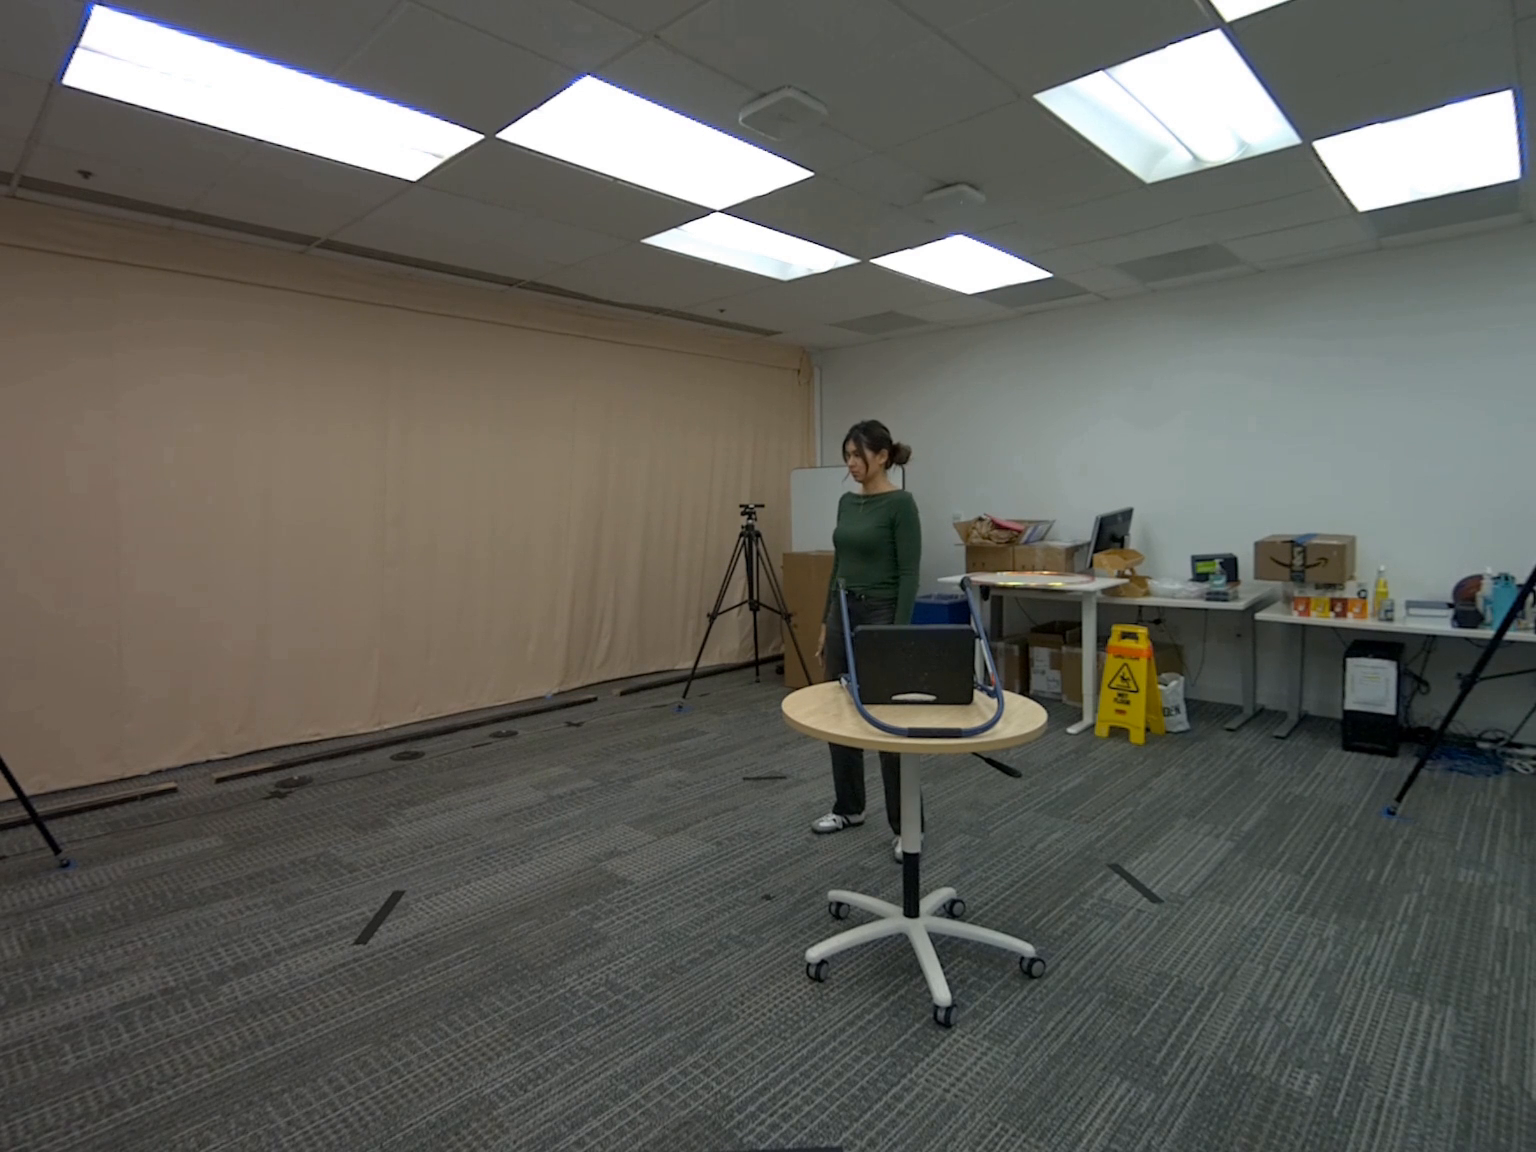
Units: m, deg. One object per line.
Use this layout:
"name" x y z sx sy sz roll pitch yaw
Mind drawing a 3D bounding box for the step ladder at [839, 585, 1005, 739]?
"step ladder" 0.443 0.263 2.450 0.432 0.346 0.610 -1 15 2
